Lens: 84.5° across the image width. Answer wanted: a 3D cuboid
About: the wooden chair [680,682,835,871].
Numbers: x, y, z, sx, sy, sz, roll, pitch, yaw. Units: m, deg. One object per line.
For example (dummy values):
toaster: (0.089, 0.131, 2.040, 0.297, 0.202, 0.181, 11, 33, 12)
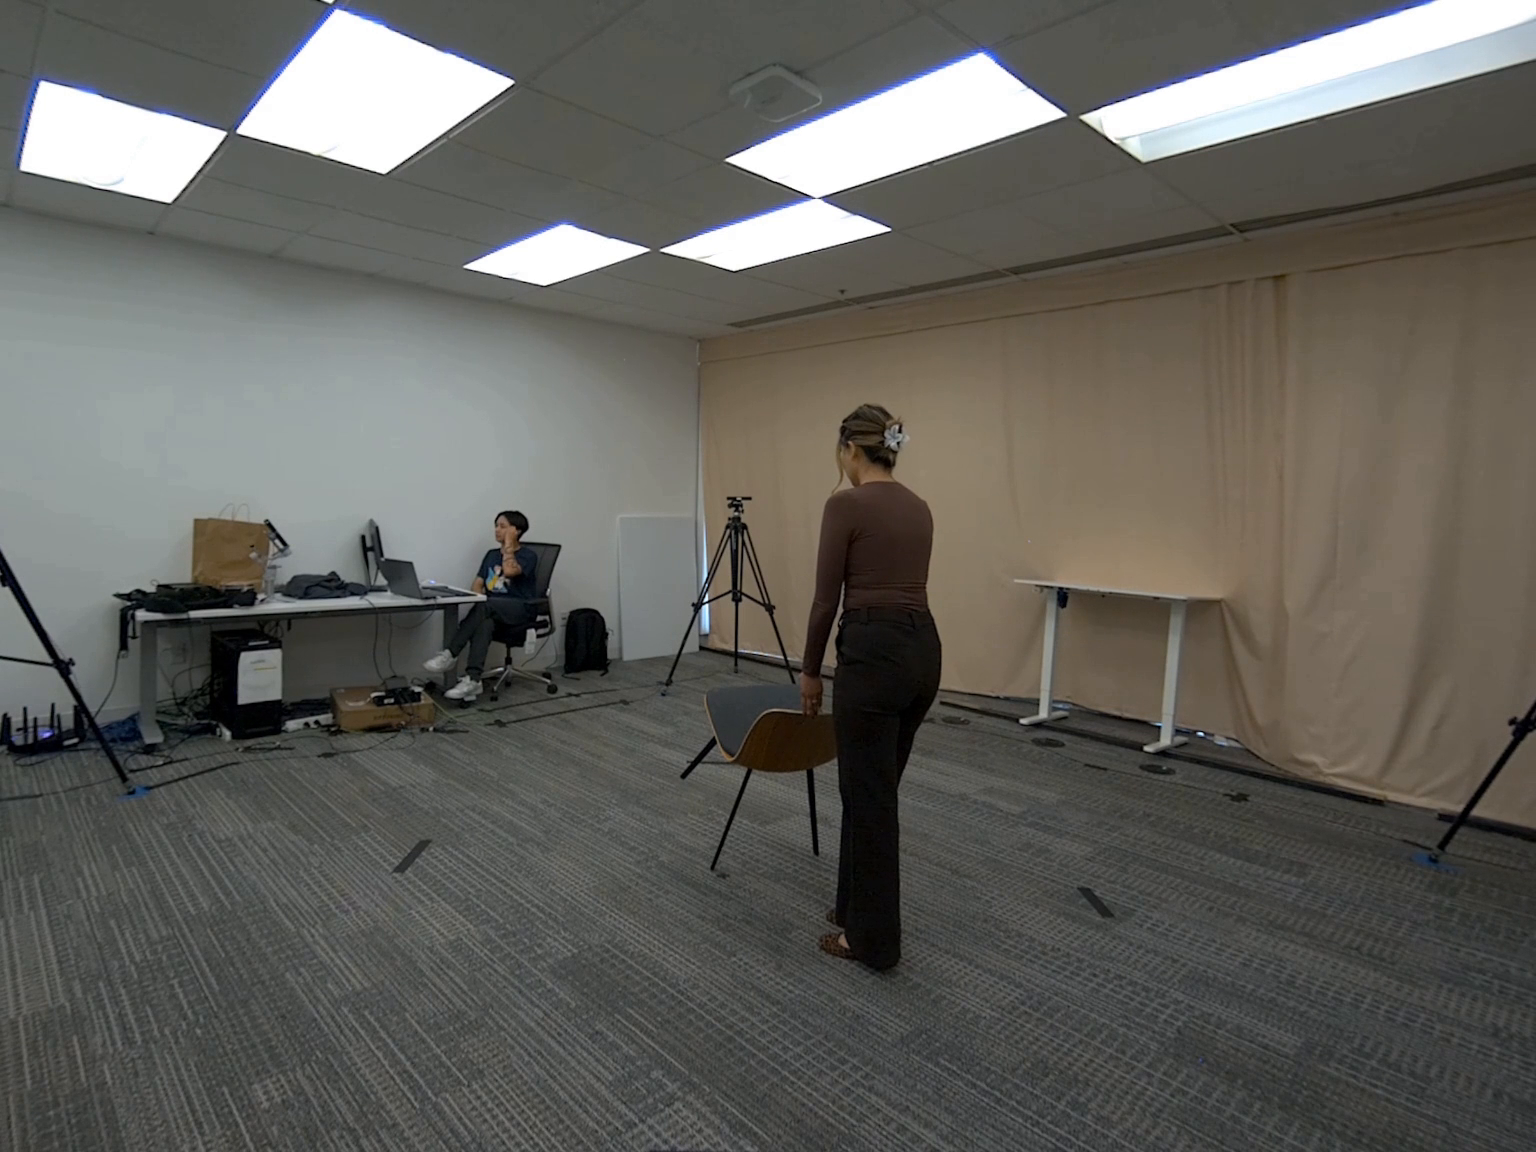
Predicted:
wooden chair: (0.007, 0.615, 3.177, 0.470, 0.865, 0.539, 0, 39, -23)
